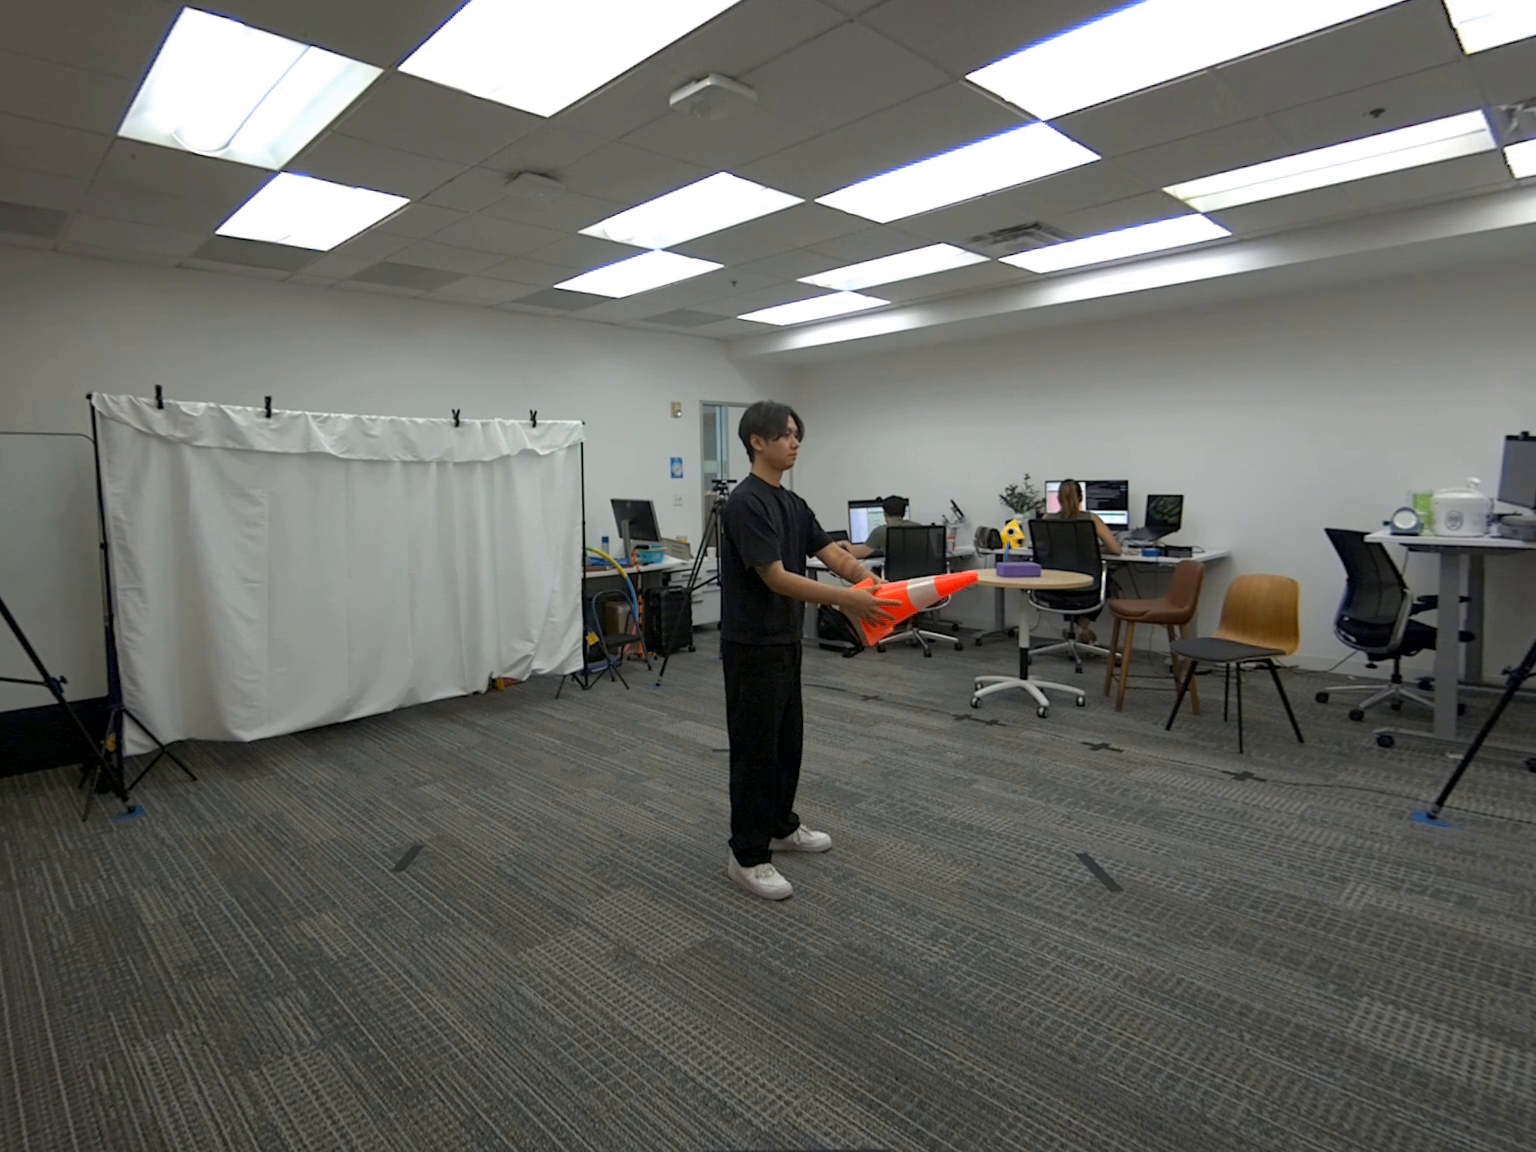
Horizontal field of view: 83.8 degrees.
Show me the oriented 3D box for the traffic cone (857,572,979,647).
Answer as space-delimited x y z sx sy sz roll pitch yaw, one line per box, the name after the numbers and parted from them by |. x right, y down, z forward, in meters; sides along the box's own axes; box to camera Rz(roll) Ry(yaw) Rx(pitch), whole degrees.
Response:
0.488 0.054 2.732 0.389 0.204 0.202 -22 0 33 | traffic cone
